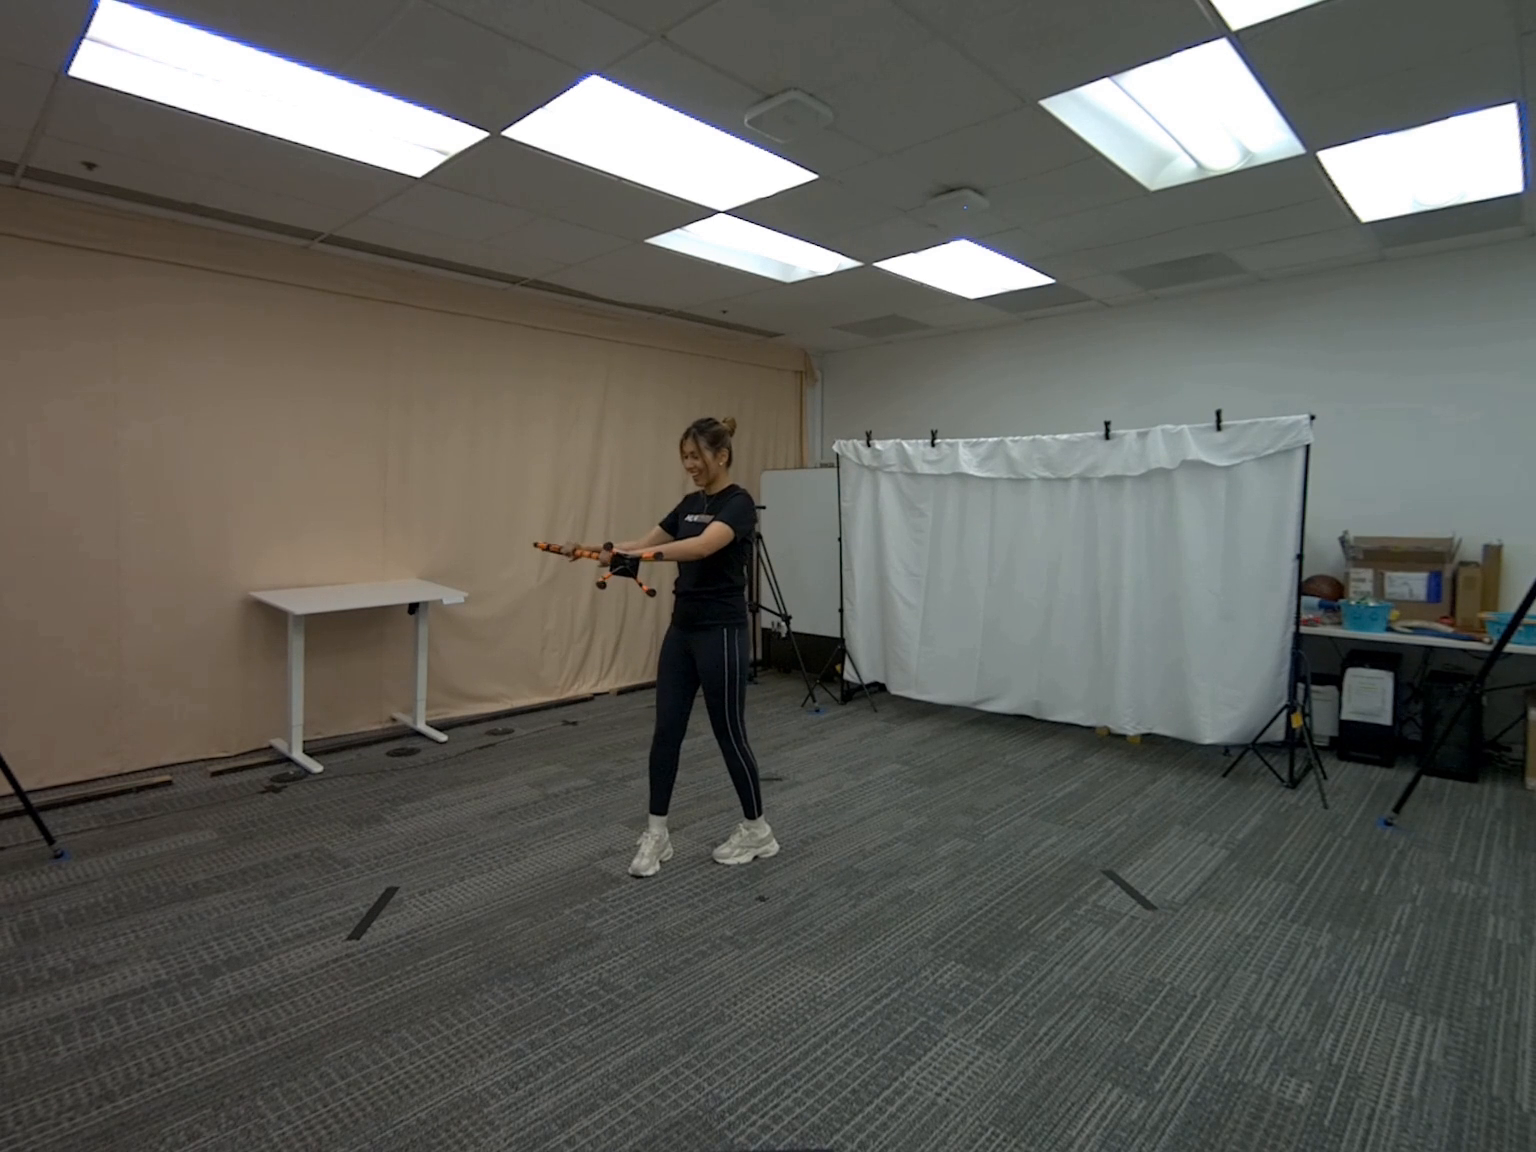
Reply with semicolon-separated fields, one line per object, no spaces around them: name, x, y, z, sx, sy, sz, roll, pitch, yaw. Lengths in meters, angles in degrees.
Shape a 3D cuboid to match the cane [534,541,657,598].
cane;-0.665;-0.058;3.073;0.200;0.151;0.936;10;0;-32
